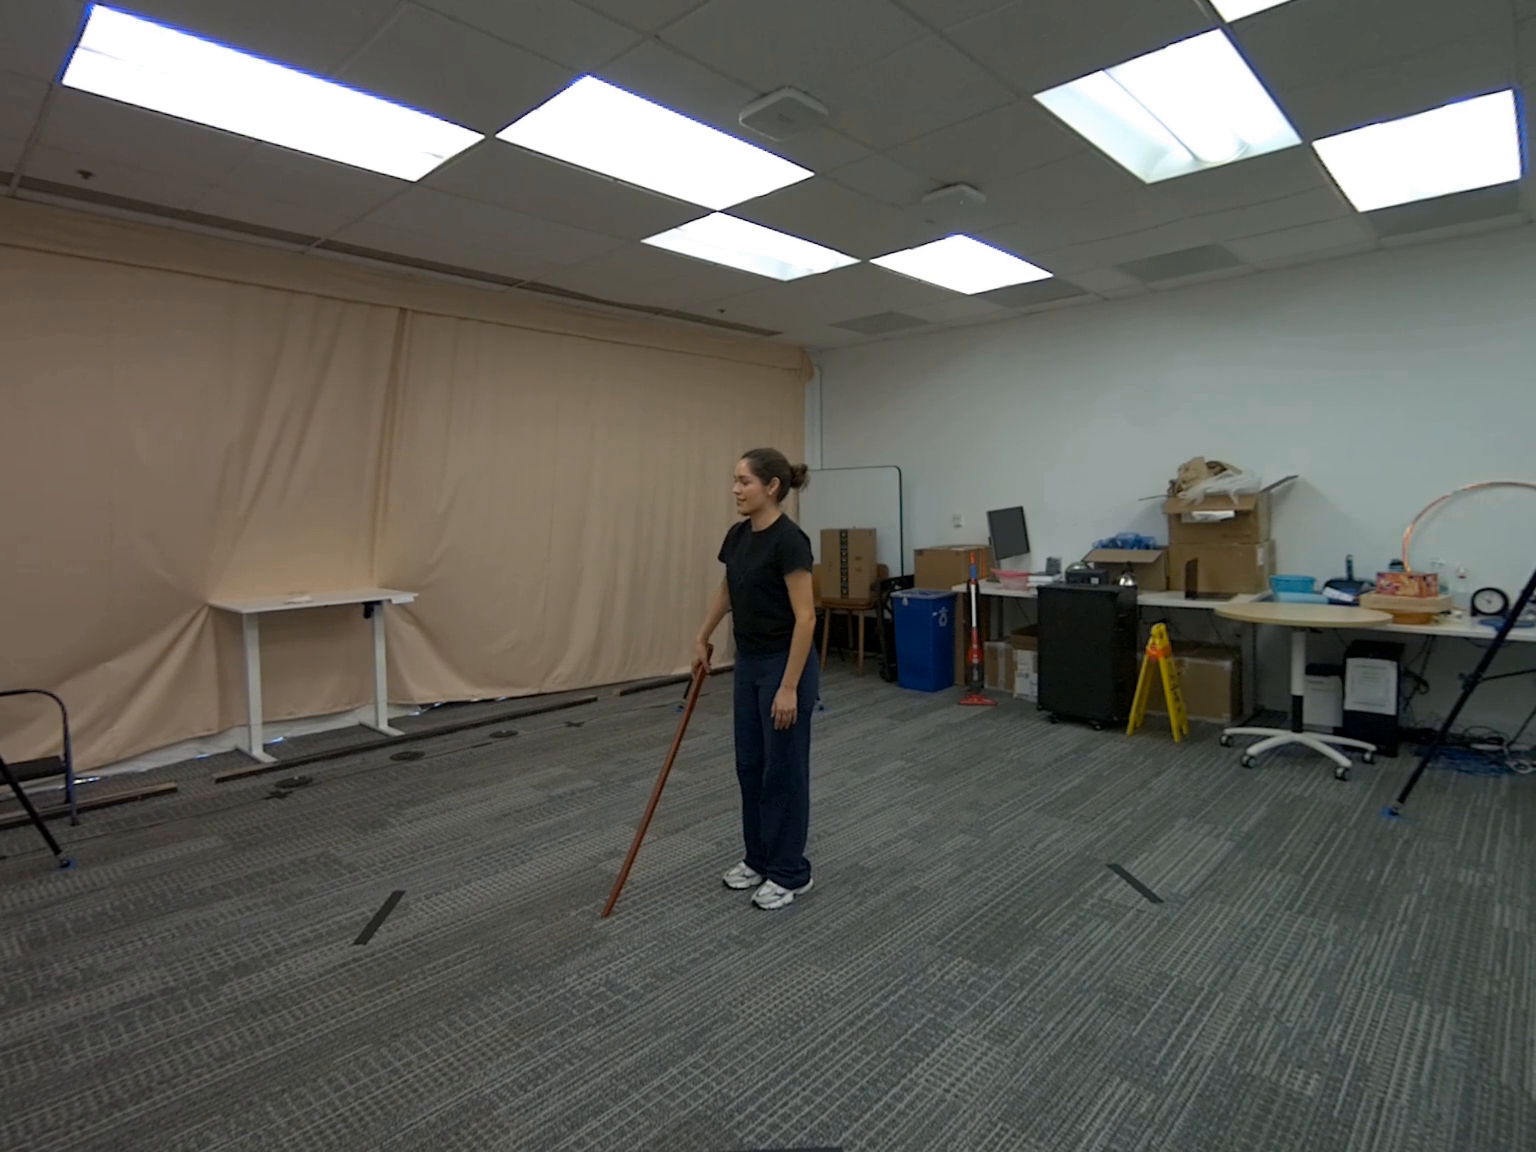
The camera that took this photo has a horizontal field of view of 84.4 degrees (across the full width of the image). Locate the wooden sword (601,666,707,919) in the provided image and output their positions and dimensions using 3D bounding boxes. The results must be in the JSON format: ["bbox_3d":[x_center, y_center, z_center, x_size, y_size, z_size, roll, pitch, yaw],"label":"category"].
[{"bbox_3d":[-0.368,0.741,3.056,0.025,1.028,0.049,8,-26,30],"label":"wooden sword"}]
